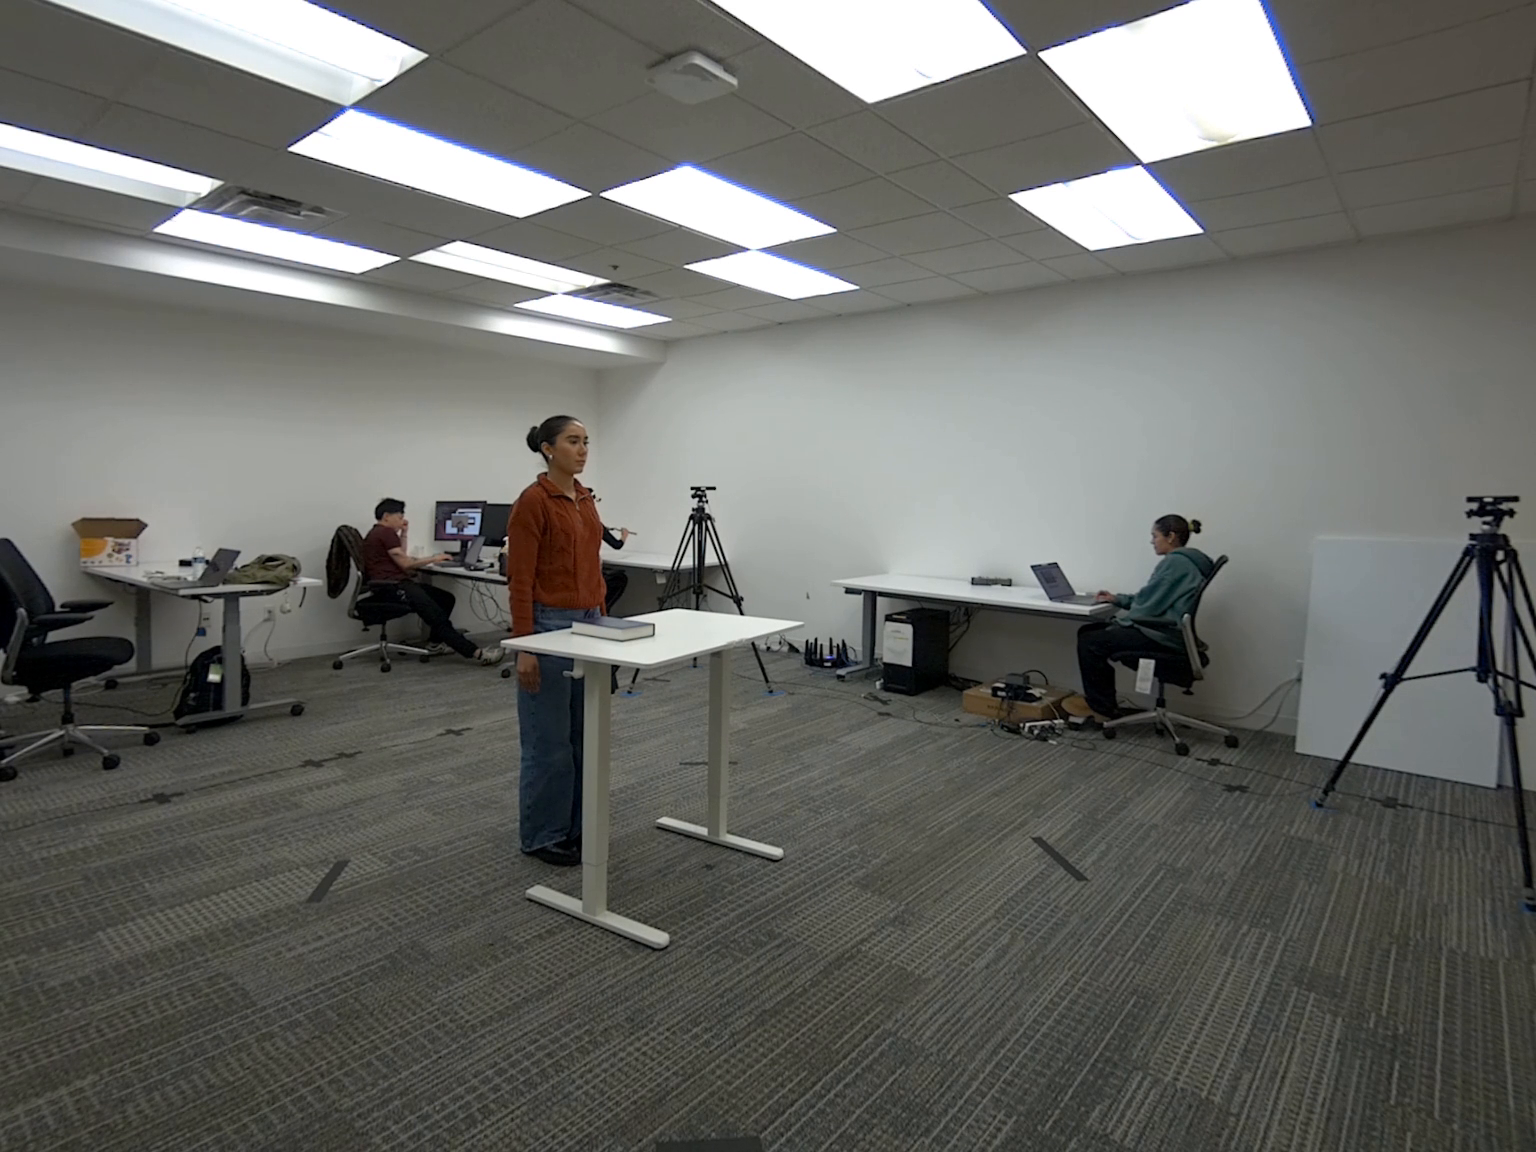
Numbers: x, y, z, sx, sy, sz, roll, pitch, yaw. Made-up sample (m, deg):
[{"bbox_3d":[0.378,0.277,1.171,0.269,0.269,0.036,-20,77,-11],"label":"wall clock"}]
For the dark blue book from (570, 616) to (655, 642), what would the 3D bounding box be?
[{"bbox_3d":[-0.538,0.180,2.898,0.253,0.045,0.159,5,6,36],"label":"dark blue book"}]
